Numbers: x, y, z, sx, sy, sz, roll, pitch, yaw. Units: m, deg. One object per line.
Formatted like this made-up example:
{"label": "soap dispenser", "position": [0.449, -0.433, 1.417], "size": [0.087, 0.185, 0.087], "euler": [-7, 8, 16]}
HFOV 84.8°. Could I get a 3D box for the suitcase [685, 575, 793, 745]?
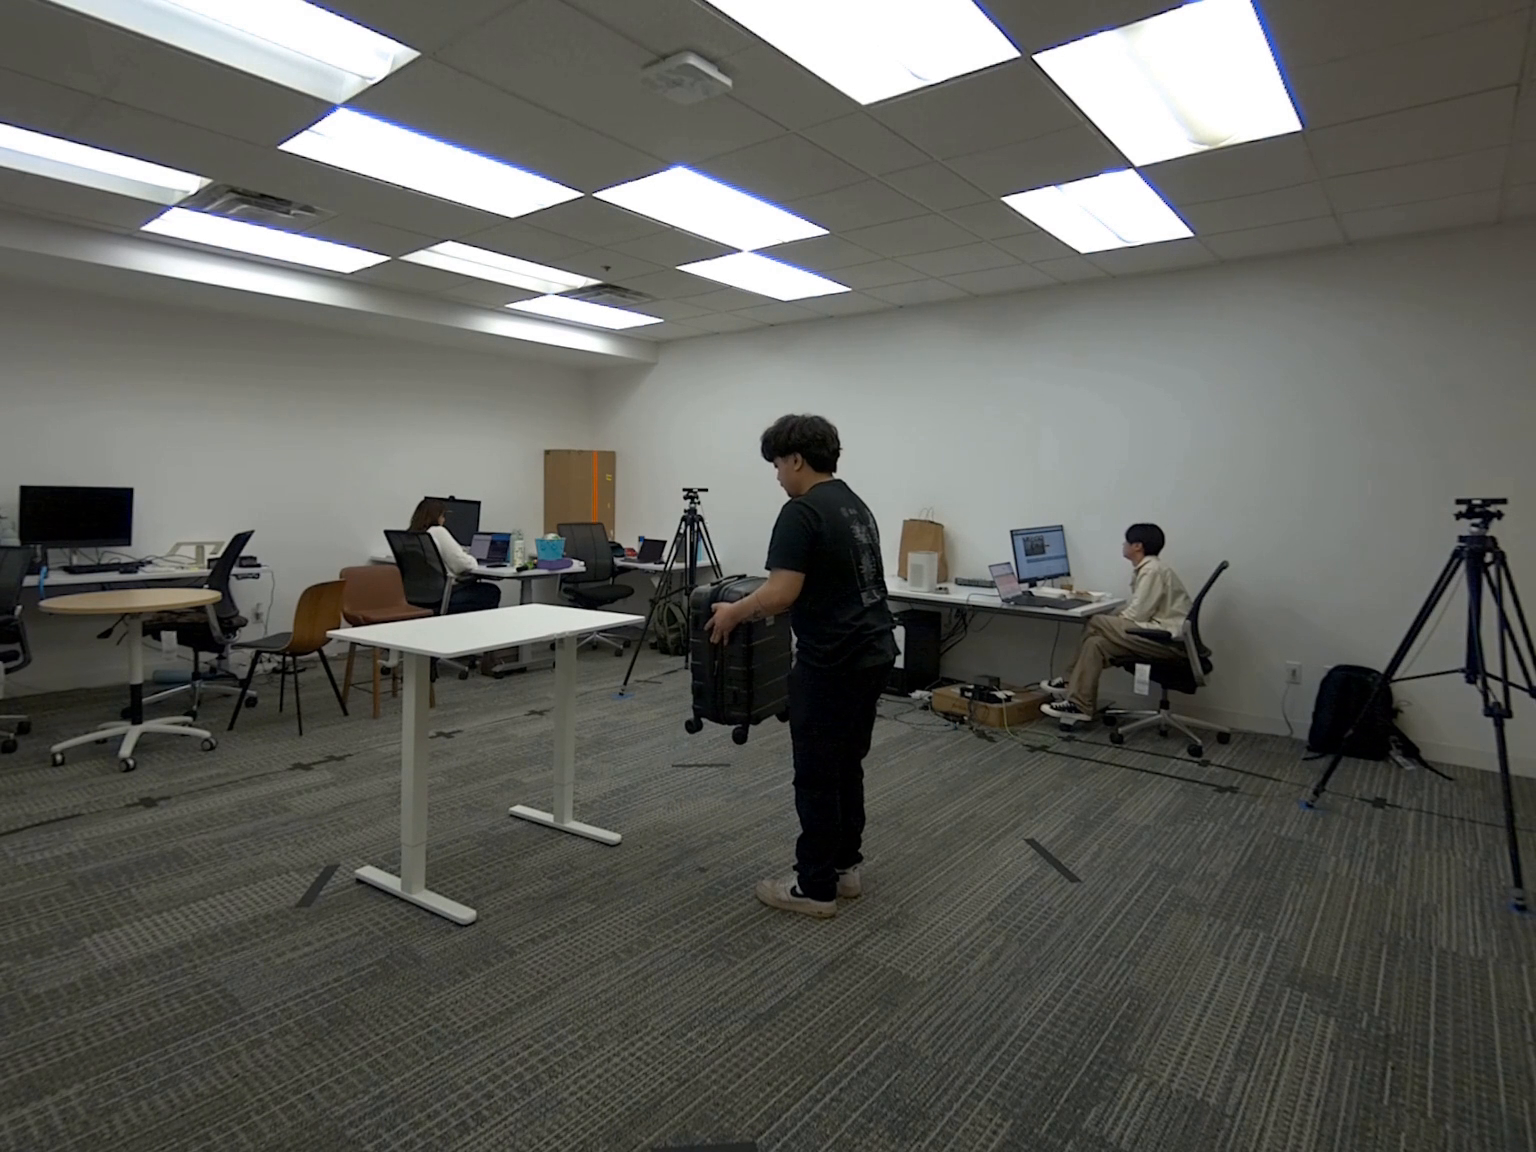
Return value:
{"label": "suitcase", "position": [-0.102, 0.281, 3.109], "size": [0.256, 0.547, 0.366], "euler": [2, 6, 33]}
